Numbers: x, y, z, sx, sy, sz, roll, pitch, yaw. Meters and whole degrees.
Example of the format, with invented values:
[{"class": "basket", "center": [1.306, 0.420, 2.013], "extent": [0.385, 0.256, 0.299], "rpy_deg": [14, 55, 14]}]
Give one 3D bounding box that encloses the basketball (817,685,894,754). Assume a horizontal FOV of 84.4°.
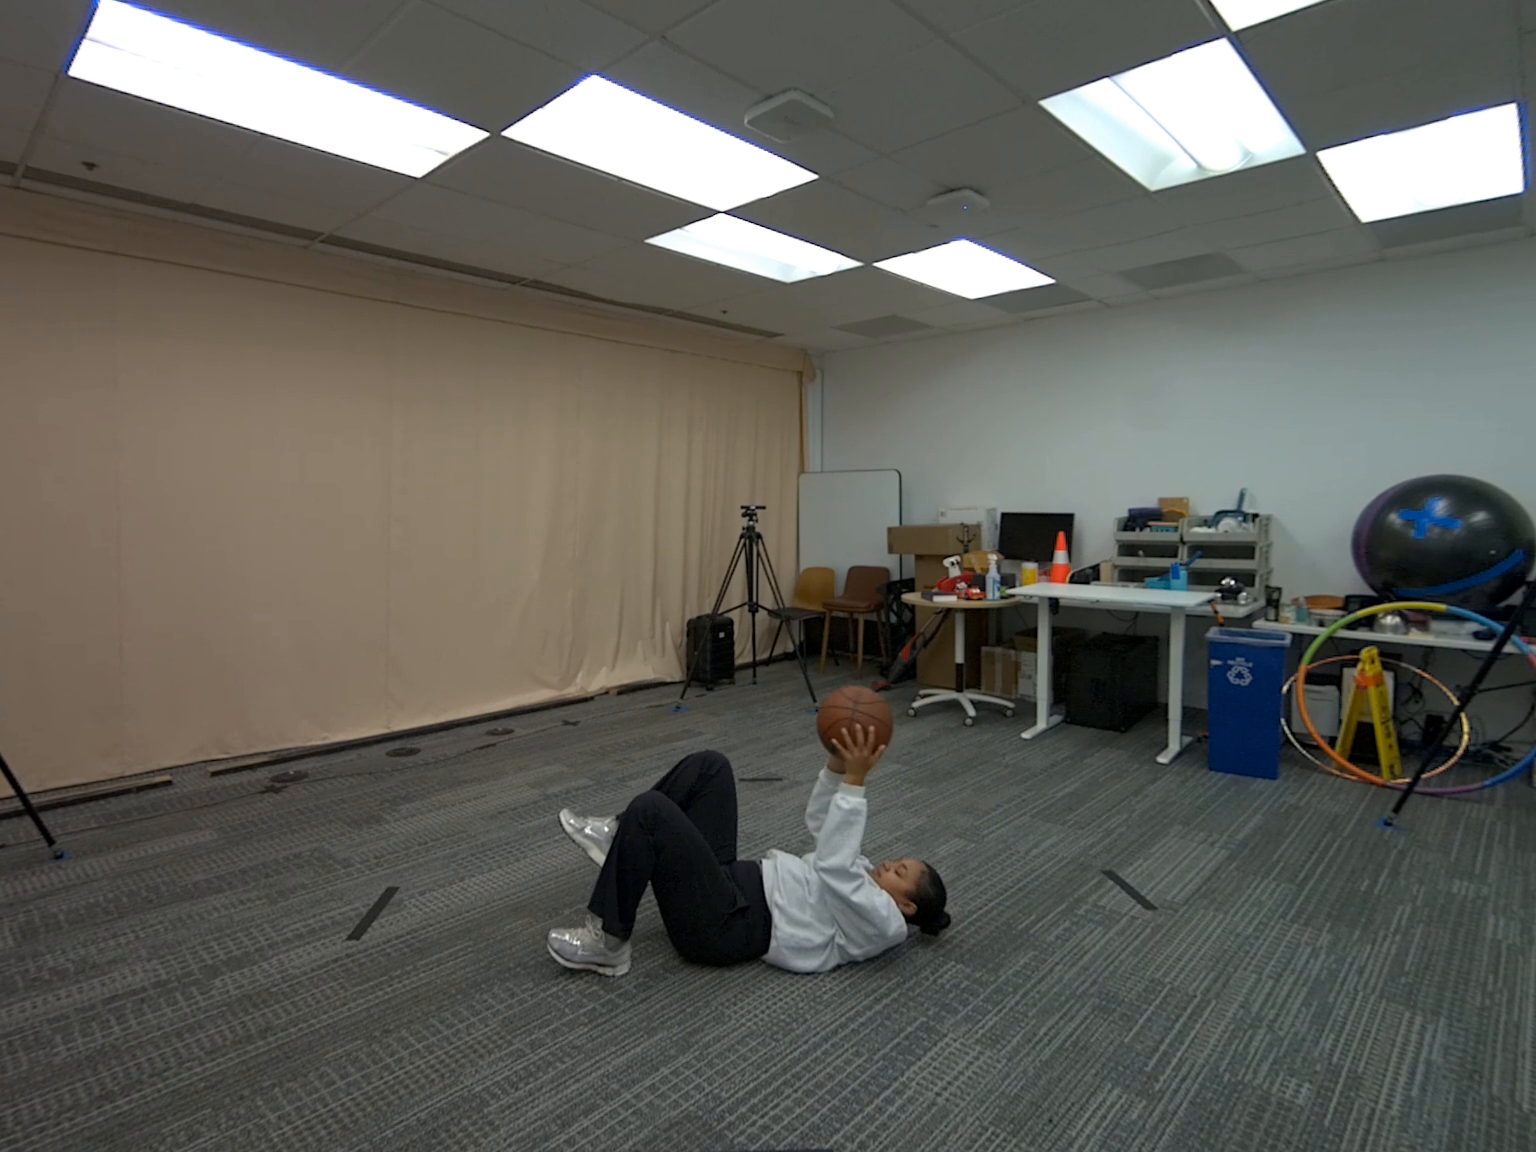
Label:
[{"class": "basketball", "center": [0.270, 0.475, 2.639], "extent": [0.236, 0.235, 0.237], "rpy_deg": [0, 4, -2]}]
